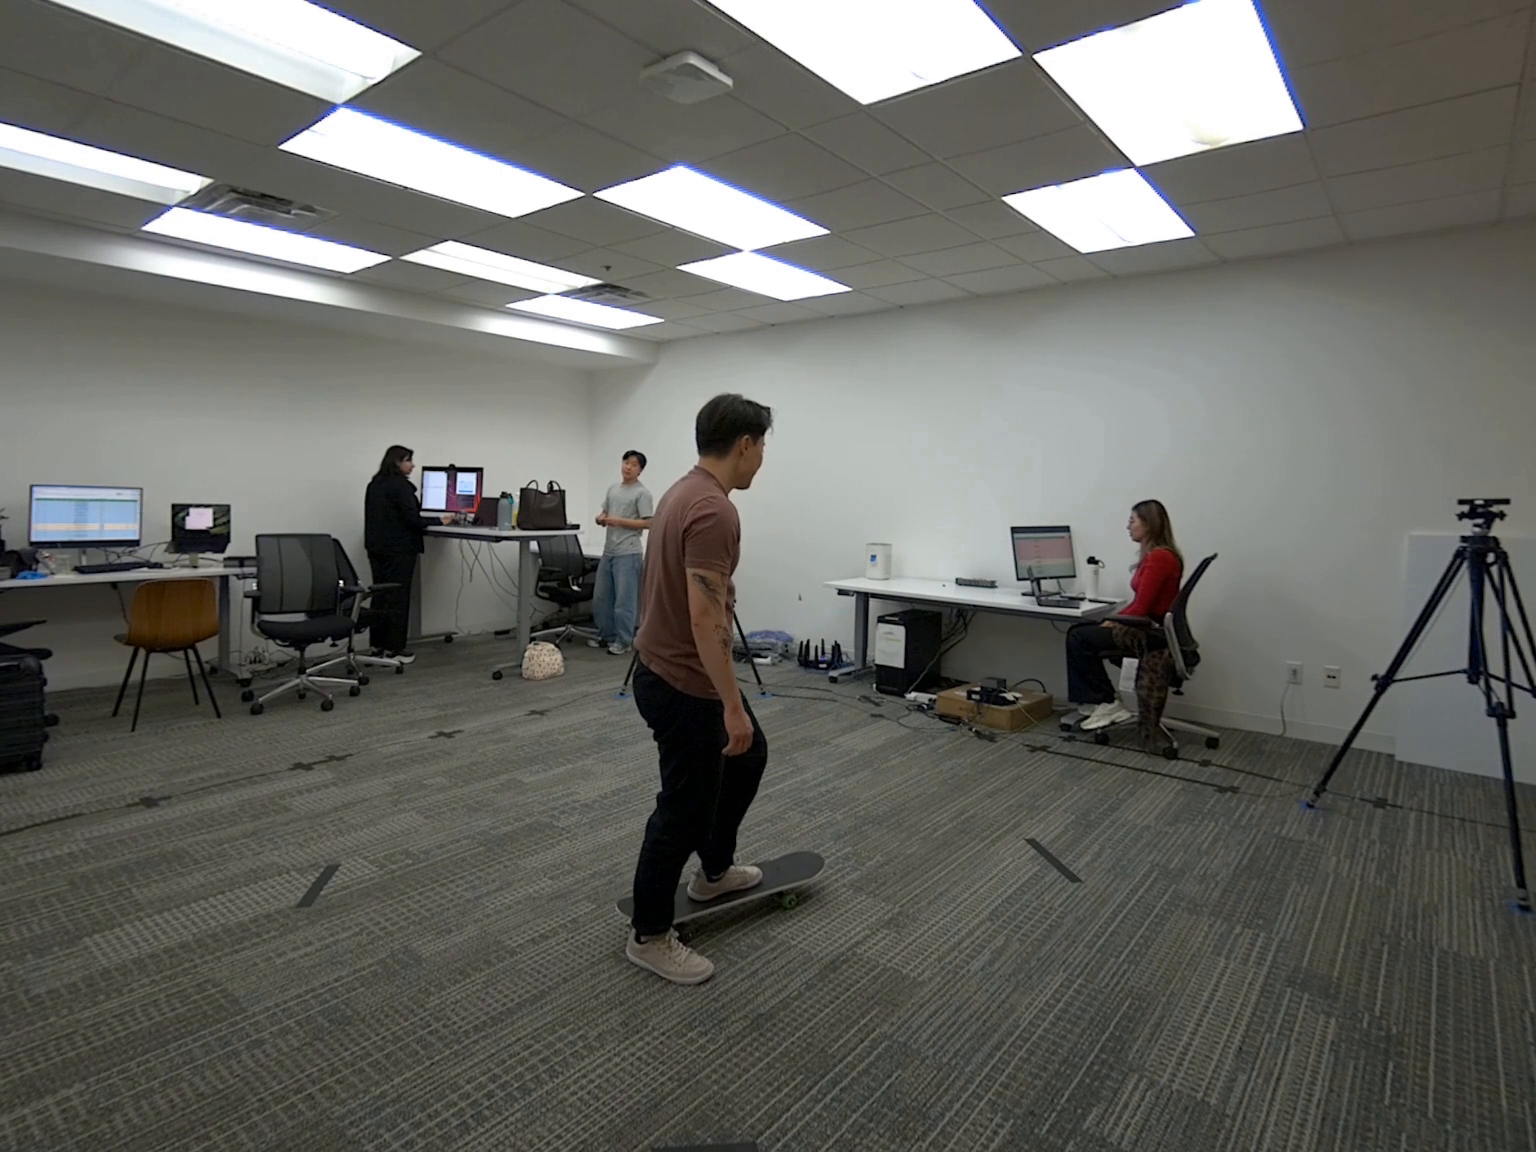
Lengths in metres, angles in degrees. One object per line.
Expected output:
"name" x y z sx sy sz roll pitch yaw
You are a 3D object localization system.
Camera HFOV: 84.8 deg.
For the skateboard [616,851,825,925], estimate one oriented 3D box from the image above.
"skateboard" -0.132 1.047 2.785 0.763 0.110 0.200 -2 7 -34
